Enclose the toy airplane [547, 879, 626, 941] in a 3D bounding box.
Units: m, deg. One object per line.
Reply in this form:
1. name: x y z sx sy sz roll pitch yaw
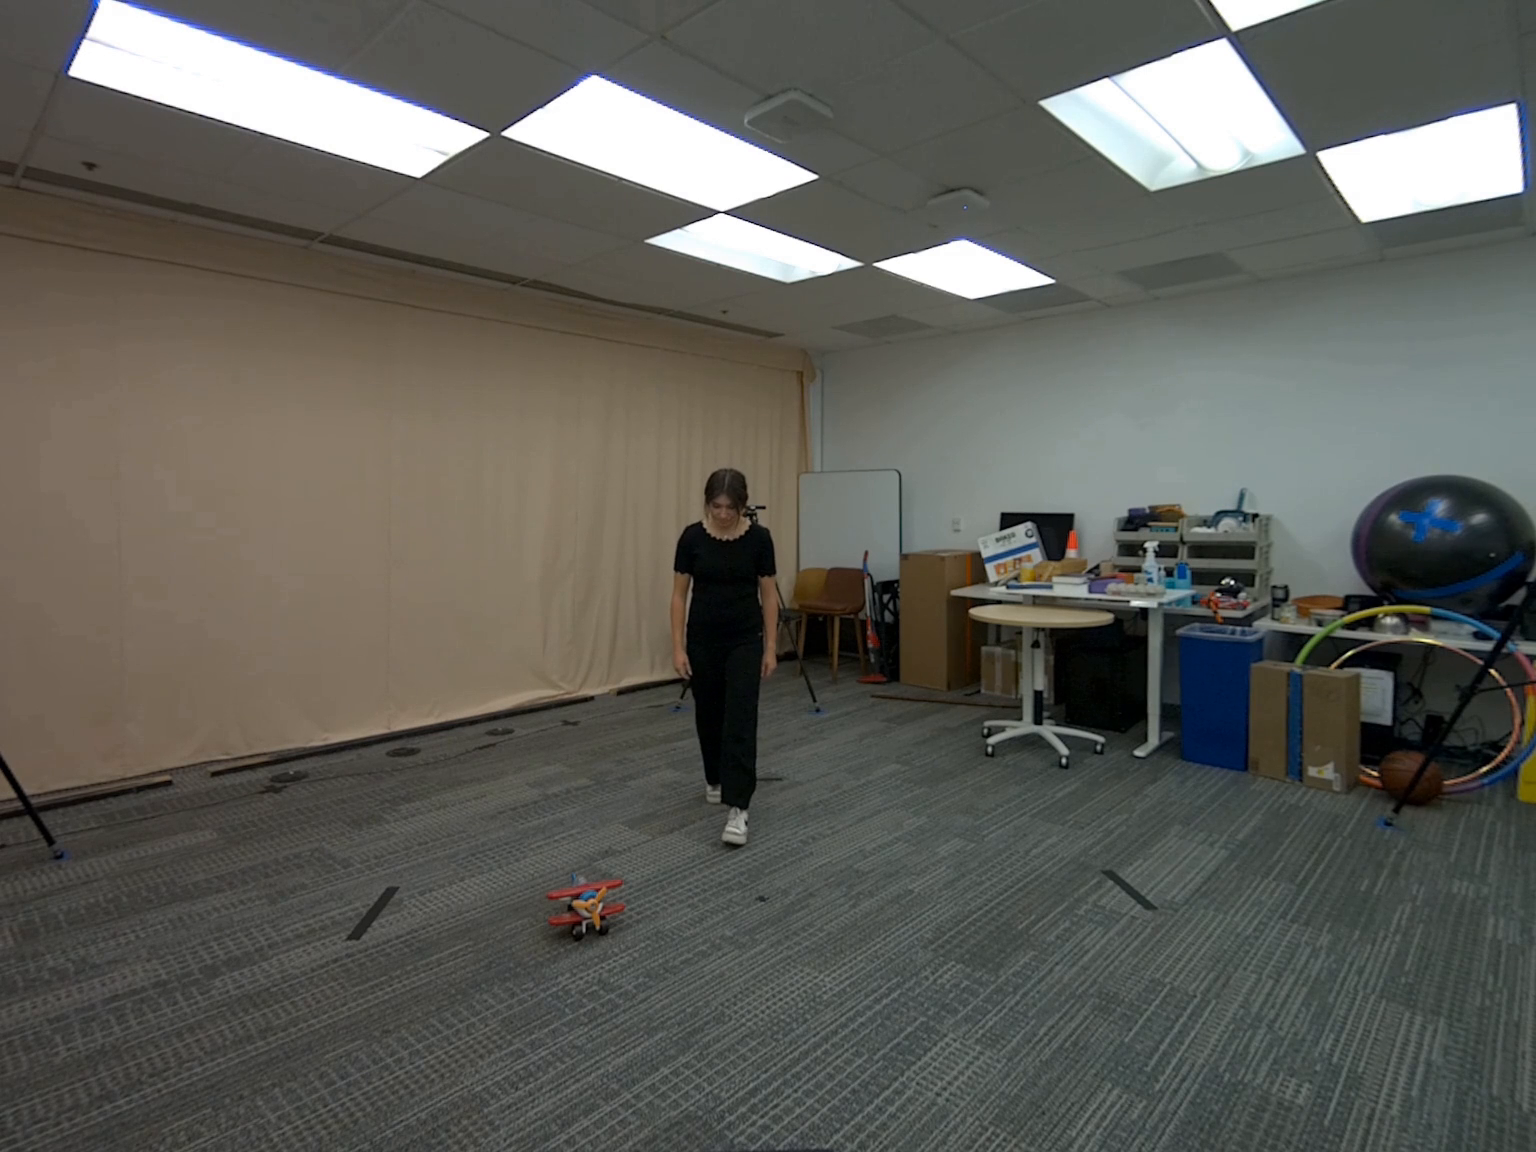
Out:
1. toy airplane: -0.628 1.089 2.790 0.267 0.156 0.244 3 7 36
